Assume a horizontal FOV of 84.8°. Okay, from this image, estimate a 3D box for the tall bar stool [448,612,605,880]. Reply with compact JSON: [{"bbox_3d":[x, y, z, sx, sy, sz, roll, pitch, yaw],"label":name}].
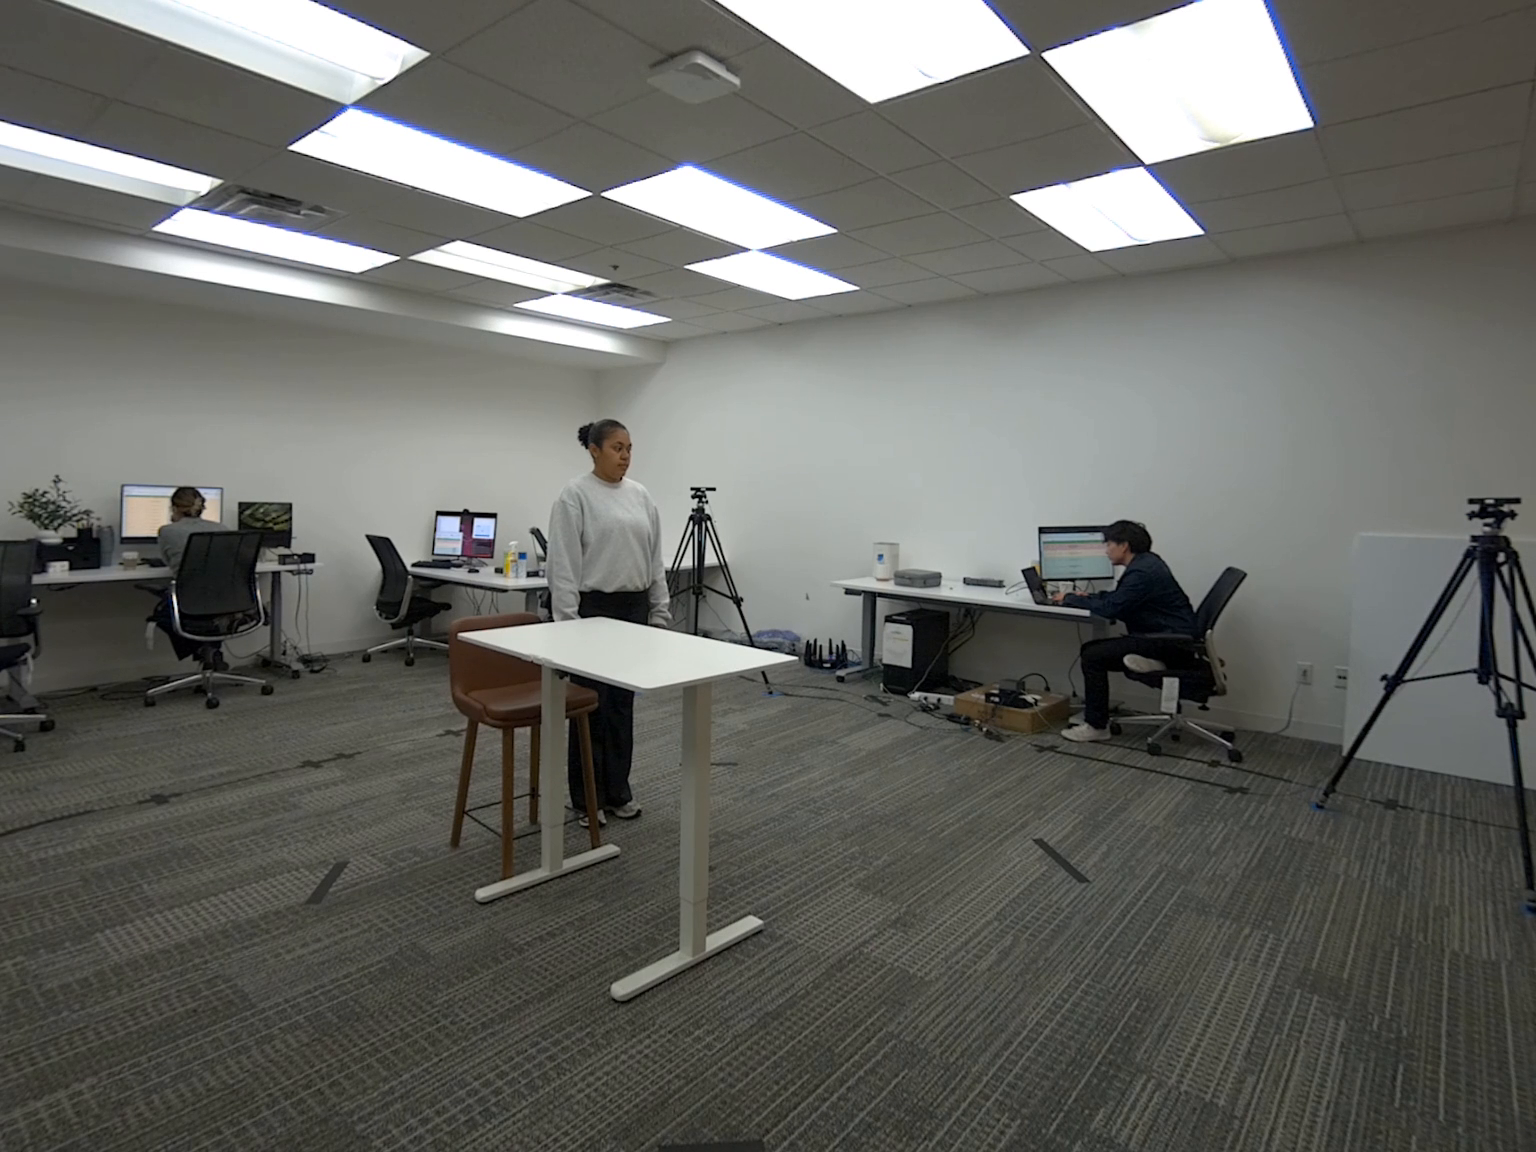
[{"bbox_3d":[-0.939,0.607,3.218,0.482,0.889,0.442,0,1,45],"label":"tall bar stool"}]
